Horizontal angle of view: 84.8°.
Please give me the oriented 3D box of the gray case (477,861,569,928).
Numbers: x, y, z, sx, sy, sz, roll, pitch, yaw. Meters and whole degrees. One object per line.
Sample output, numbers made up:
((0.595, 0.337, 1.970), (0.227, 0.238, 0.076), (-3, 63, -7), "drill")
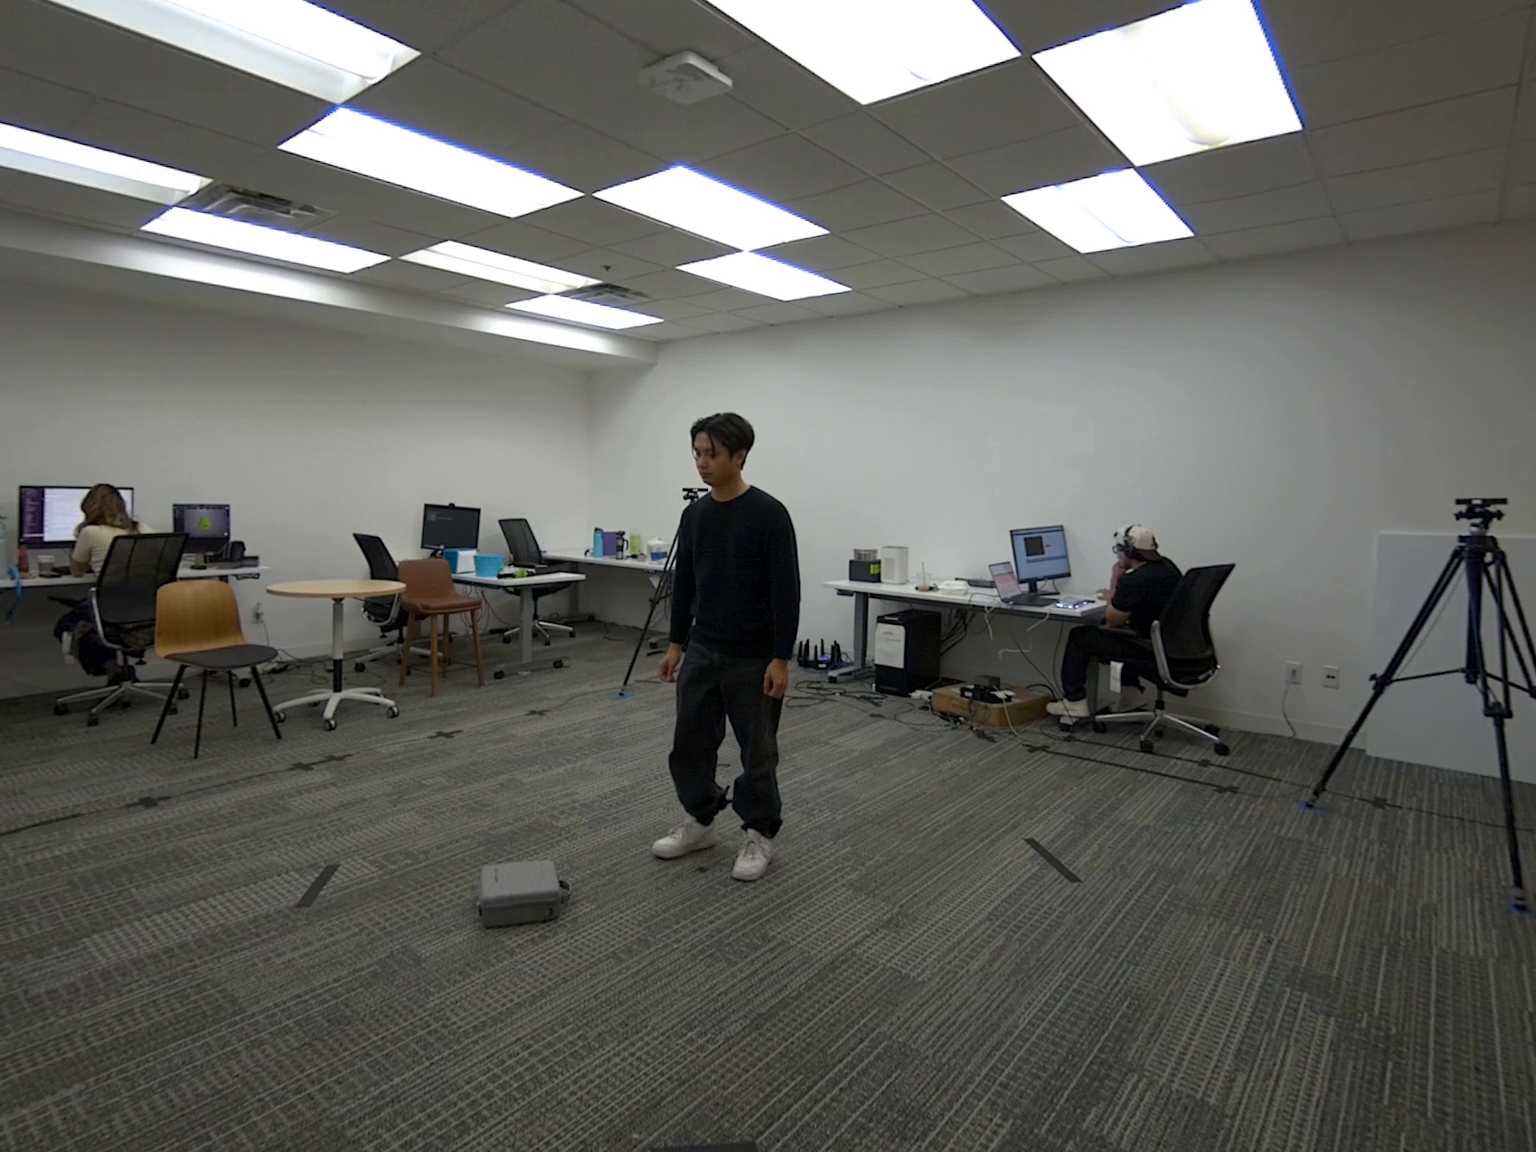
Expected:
((-0.826, 1.035, 2.802), (0.256, 0.104, 0.262), (0, 4, -18), "gray case")
